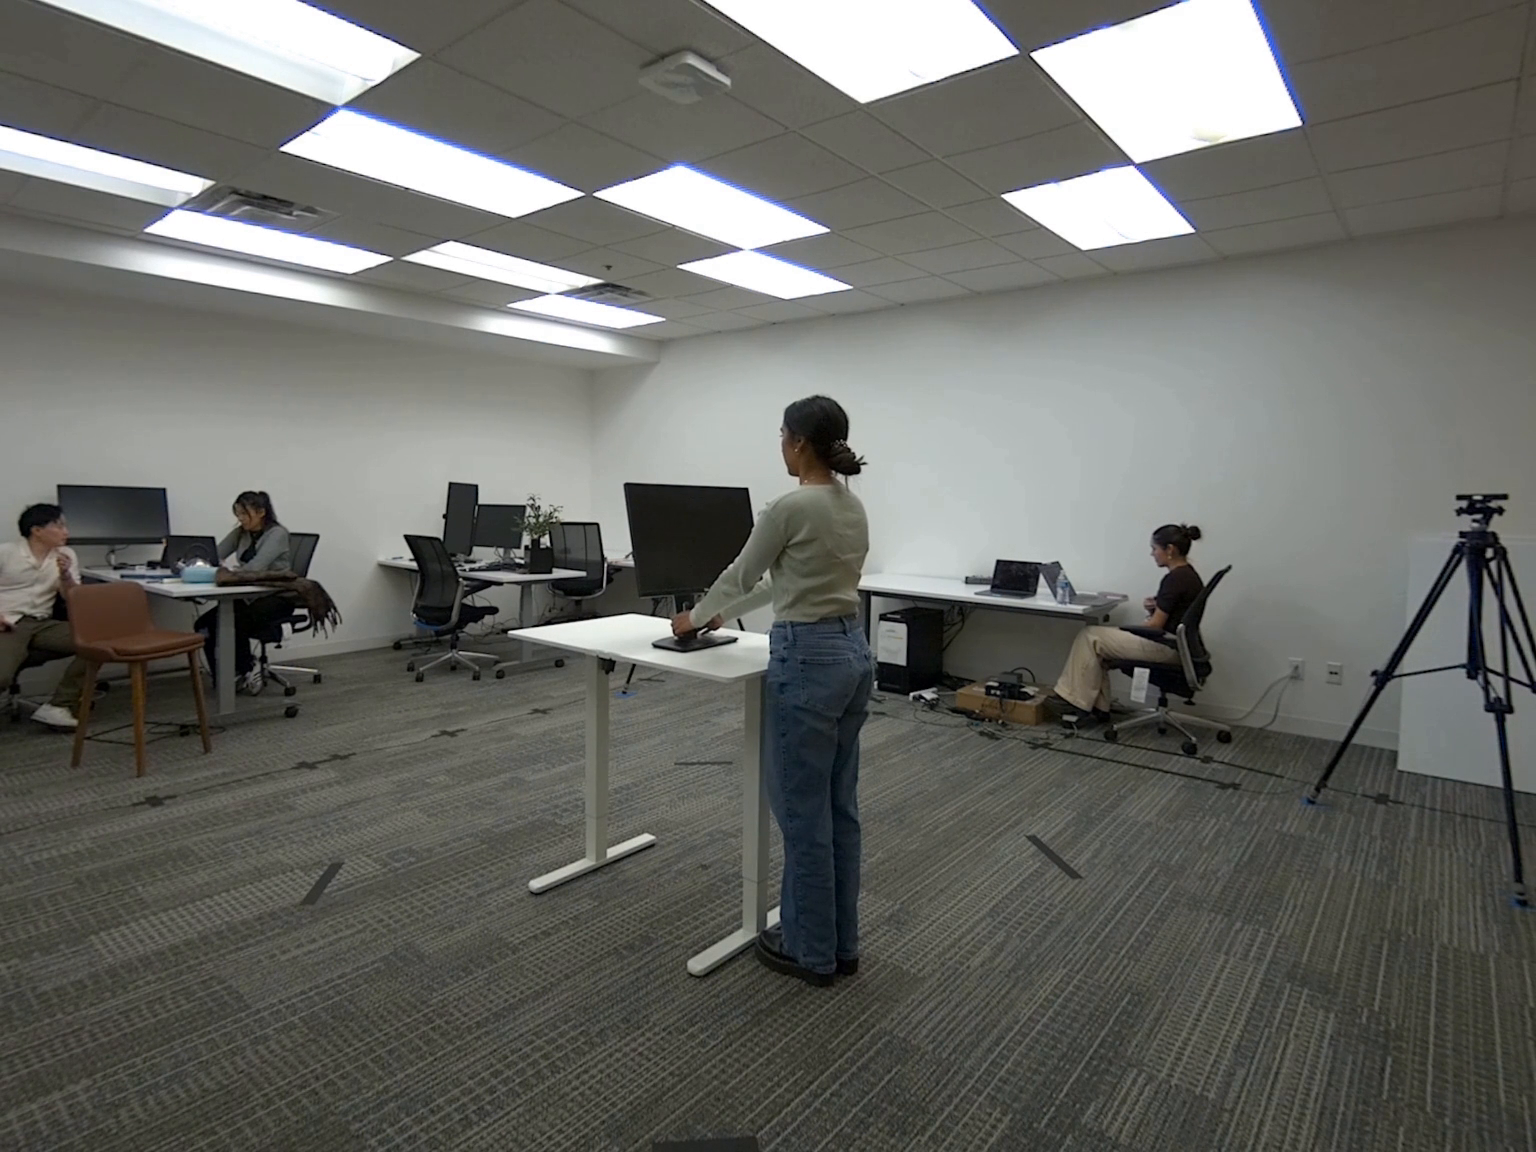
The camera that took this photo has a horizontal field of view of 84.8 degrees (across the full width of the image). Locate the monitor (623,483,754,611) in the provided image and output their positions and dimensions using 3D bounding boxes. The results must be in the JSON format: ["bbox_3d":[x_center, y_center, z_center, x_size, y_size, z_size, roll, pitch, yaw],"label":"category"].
[{"bbox_3d":[-0.266,-0.035,2.761,0.193,0.521,0.523,2,4,42],"label":"monitor"}]
